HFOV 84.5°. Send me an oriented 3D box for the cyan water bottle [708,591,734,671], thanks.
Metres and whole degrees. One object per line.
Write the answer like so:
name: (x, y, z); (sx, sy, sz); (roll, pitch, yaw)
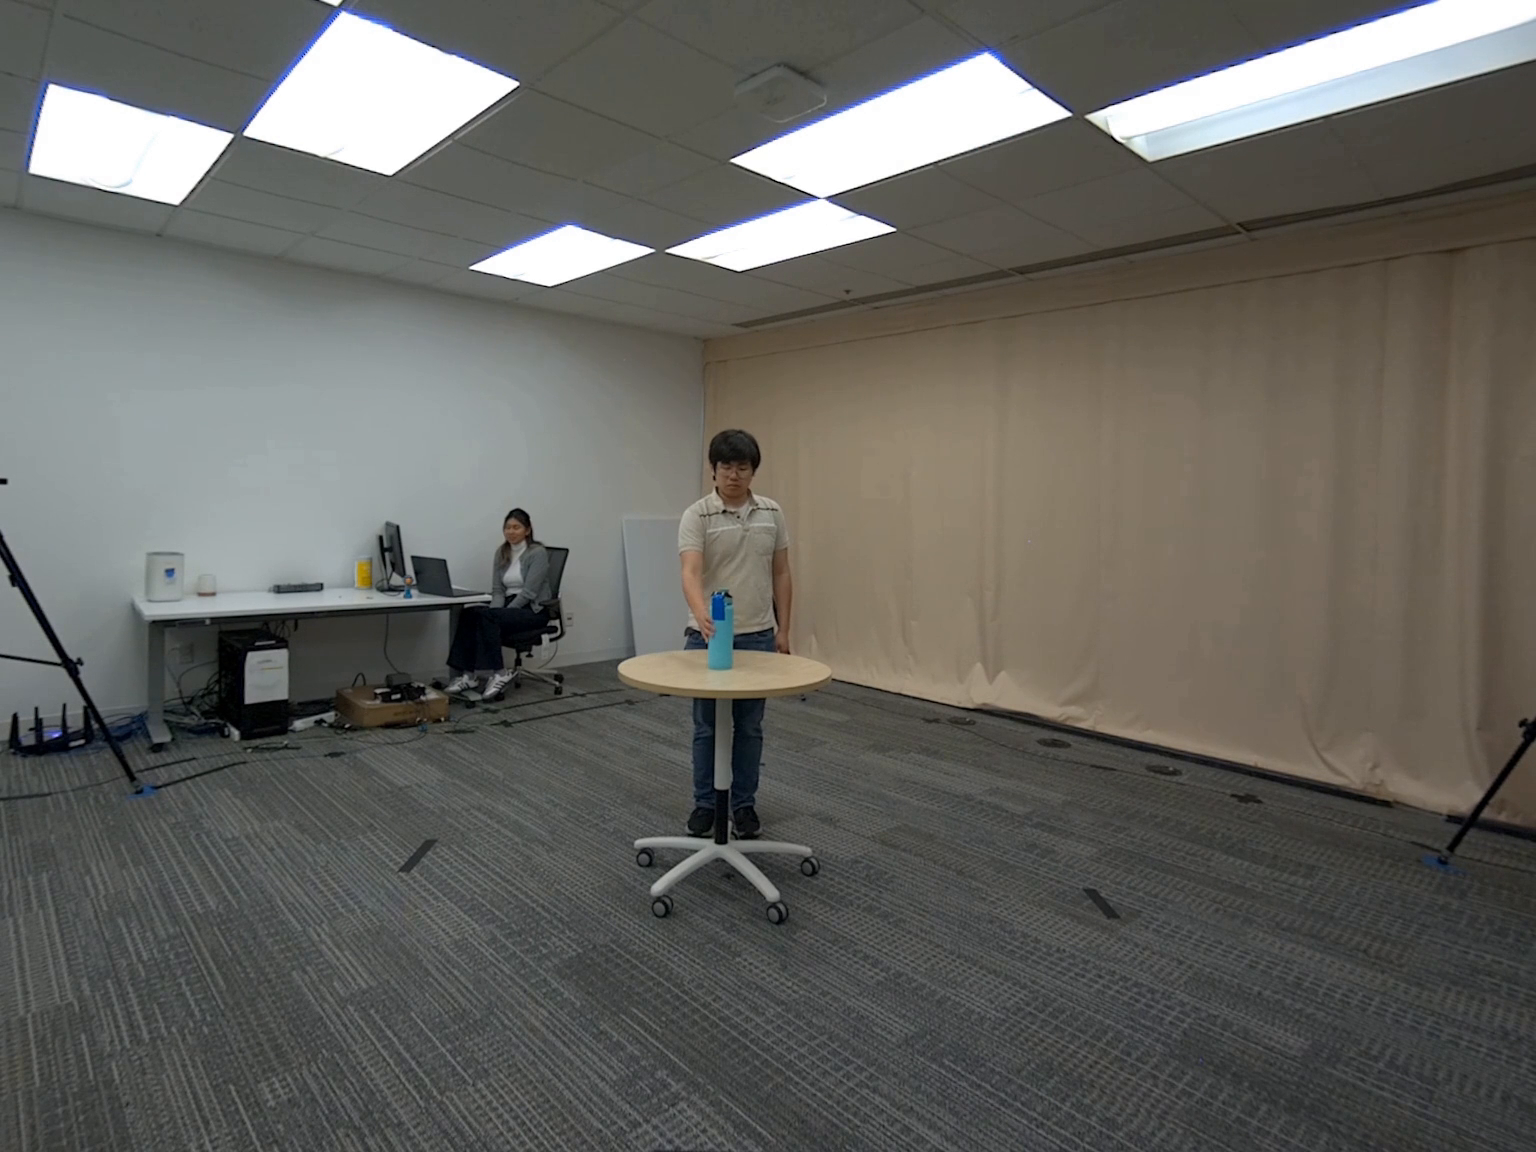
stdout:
cyan water bottle: (-0.180, 0.177, 3.018); (0.092, 0.282, 0.093); (2, 4, -2)
